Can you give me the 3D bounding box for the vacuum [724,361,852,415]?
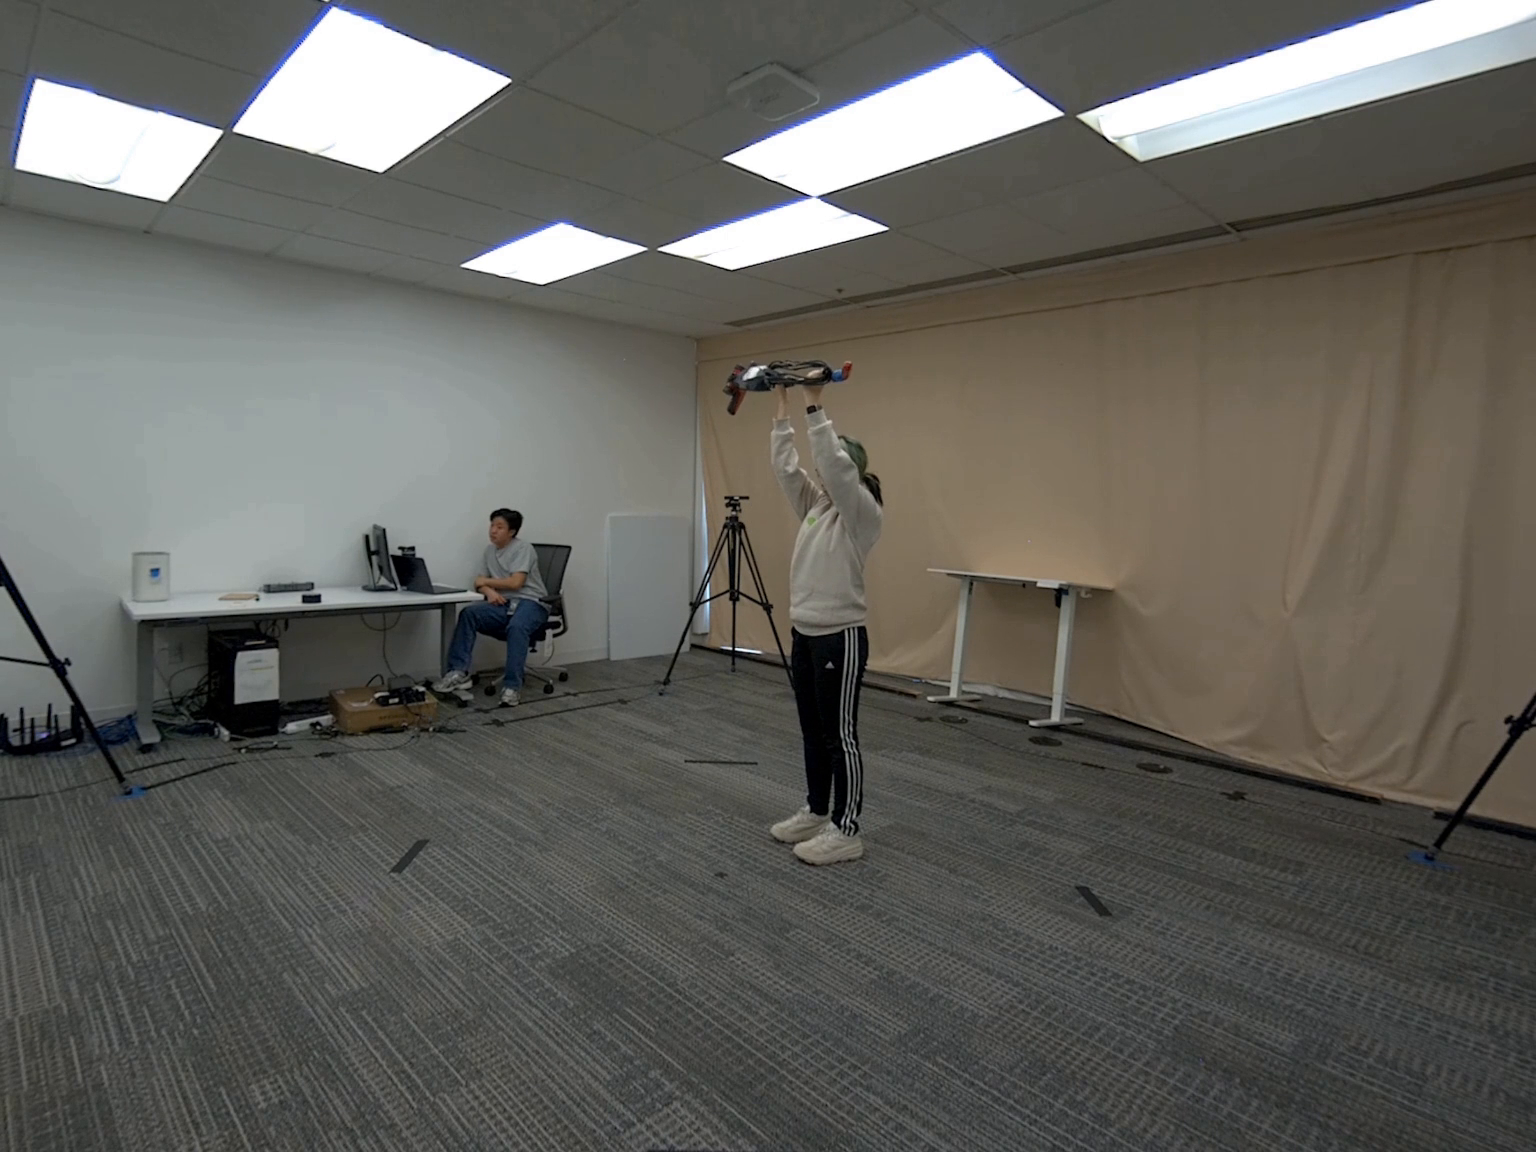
[{"bbox_3d":[0.050,-0.773,3.250,0.141,0.253,1.069,28,-2,-21],"label":"vacuum"}]
